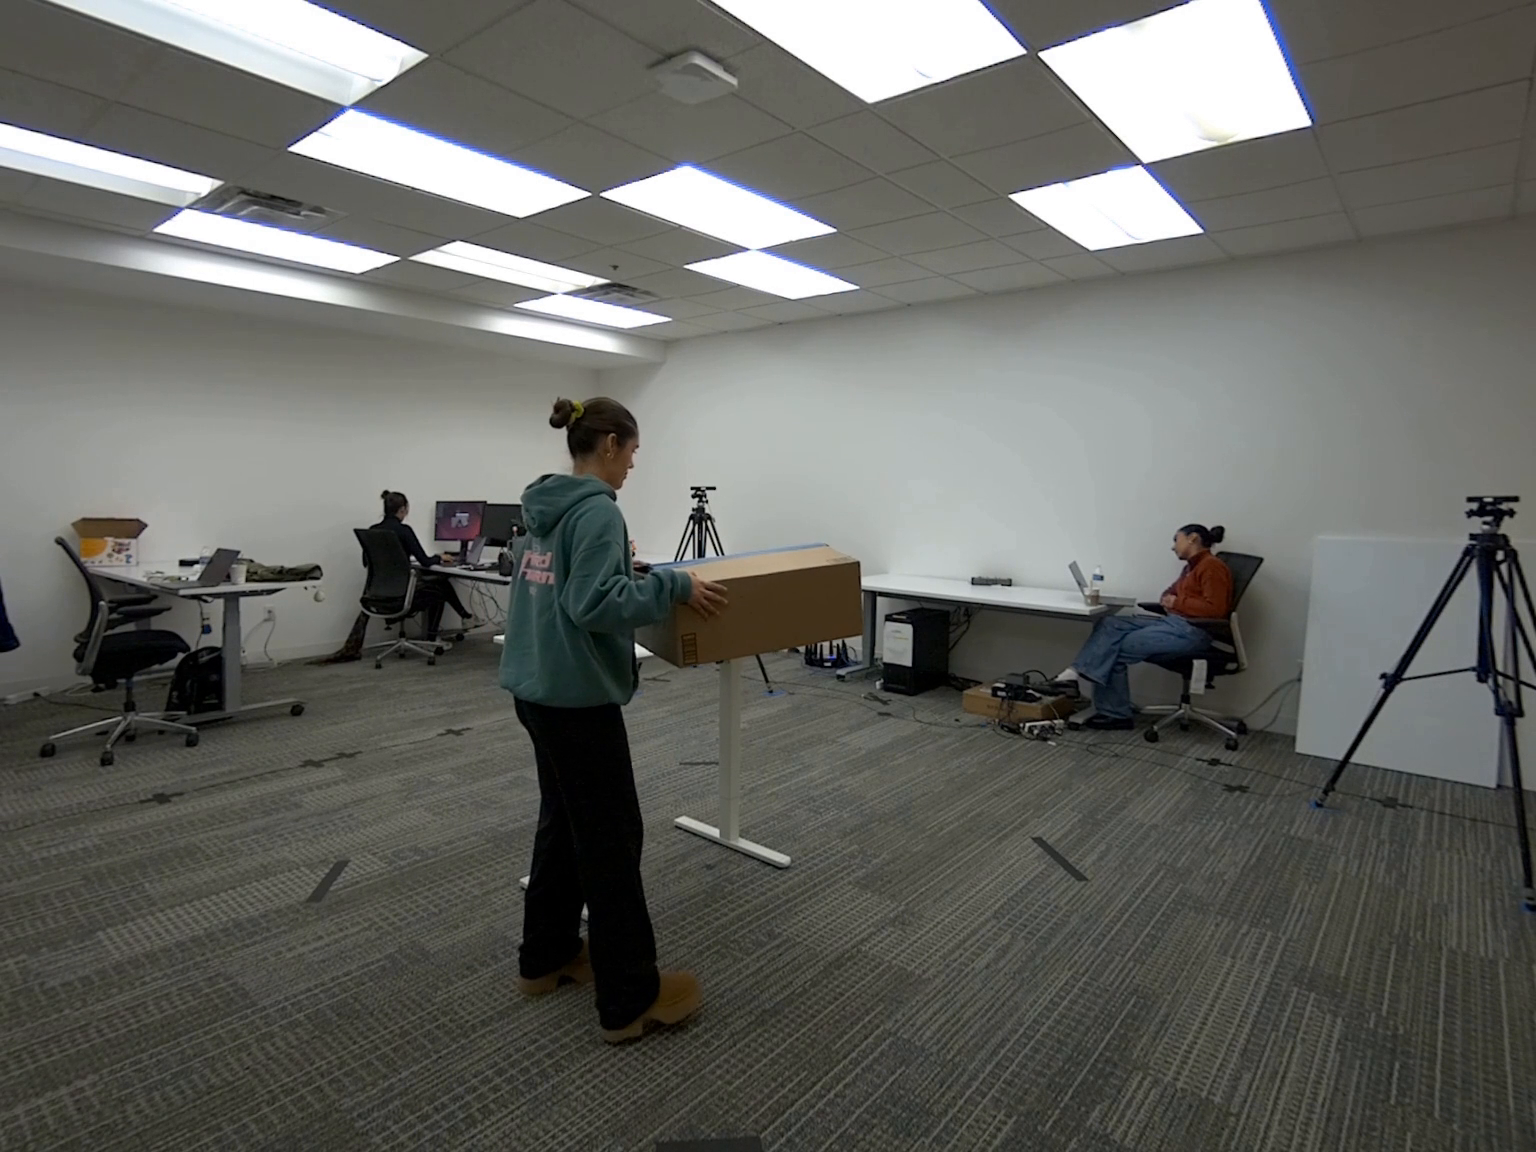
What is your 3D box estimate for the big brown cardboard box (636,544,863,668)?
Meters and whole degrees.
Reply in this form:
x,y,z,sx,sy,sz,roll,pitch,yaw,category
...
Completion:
x,y,z,sx,sy,sz,roll,pitch,yaw,category
-0.079,0.064,2.437,0.576,0.231,0.430,-8,9,-26,big brown cardboard box
